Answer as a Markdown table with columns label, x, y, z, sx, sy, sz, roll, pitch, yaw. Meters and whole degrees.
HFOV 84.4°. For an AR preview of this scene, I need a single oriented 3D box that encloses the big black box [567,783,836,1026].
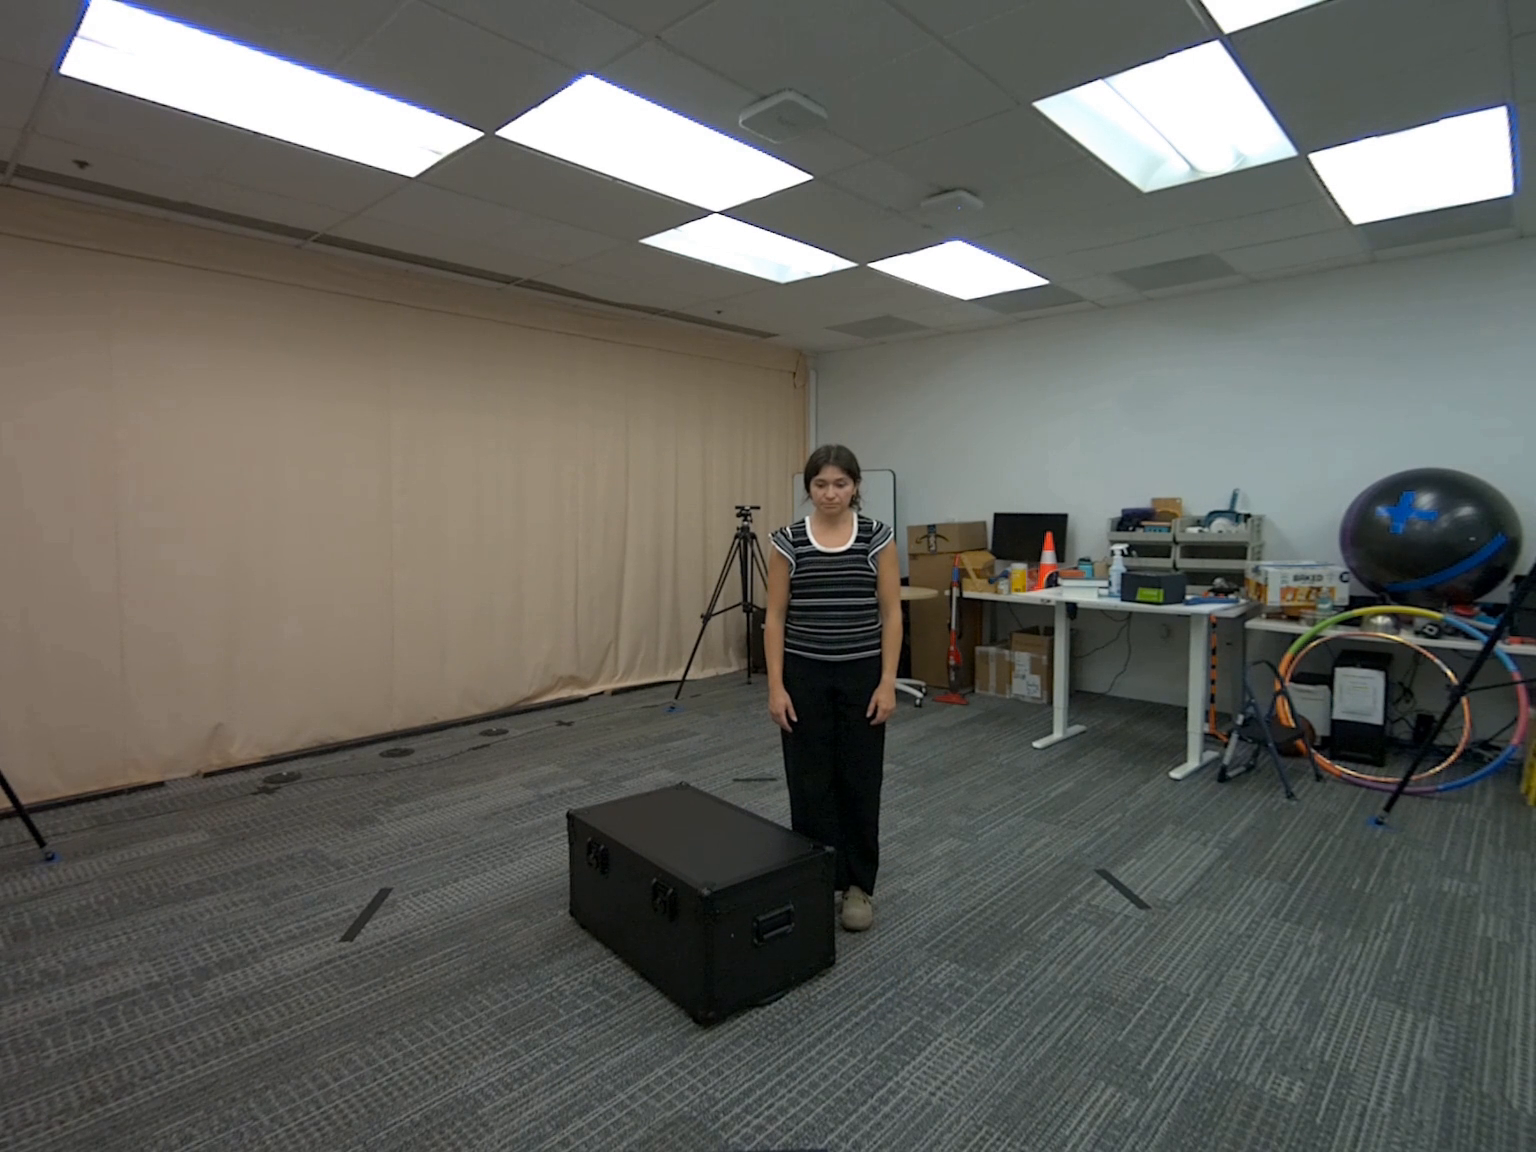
| label | x | y | z | sx | sy | sz | roll | pitch | yaw |
| --- | --- | --- | --- | --- | --- | --- | --- | --- | --- |
| big black box | -0.254 | 0.980 | 2.684 | 0.506 | 0.395 | 0.890 | -4 | 6 | -39 |
